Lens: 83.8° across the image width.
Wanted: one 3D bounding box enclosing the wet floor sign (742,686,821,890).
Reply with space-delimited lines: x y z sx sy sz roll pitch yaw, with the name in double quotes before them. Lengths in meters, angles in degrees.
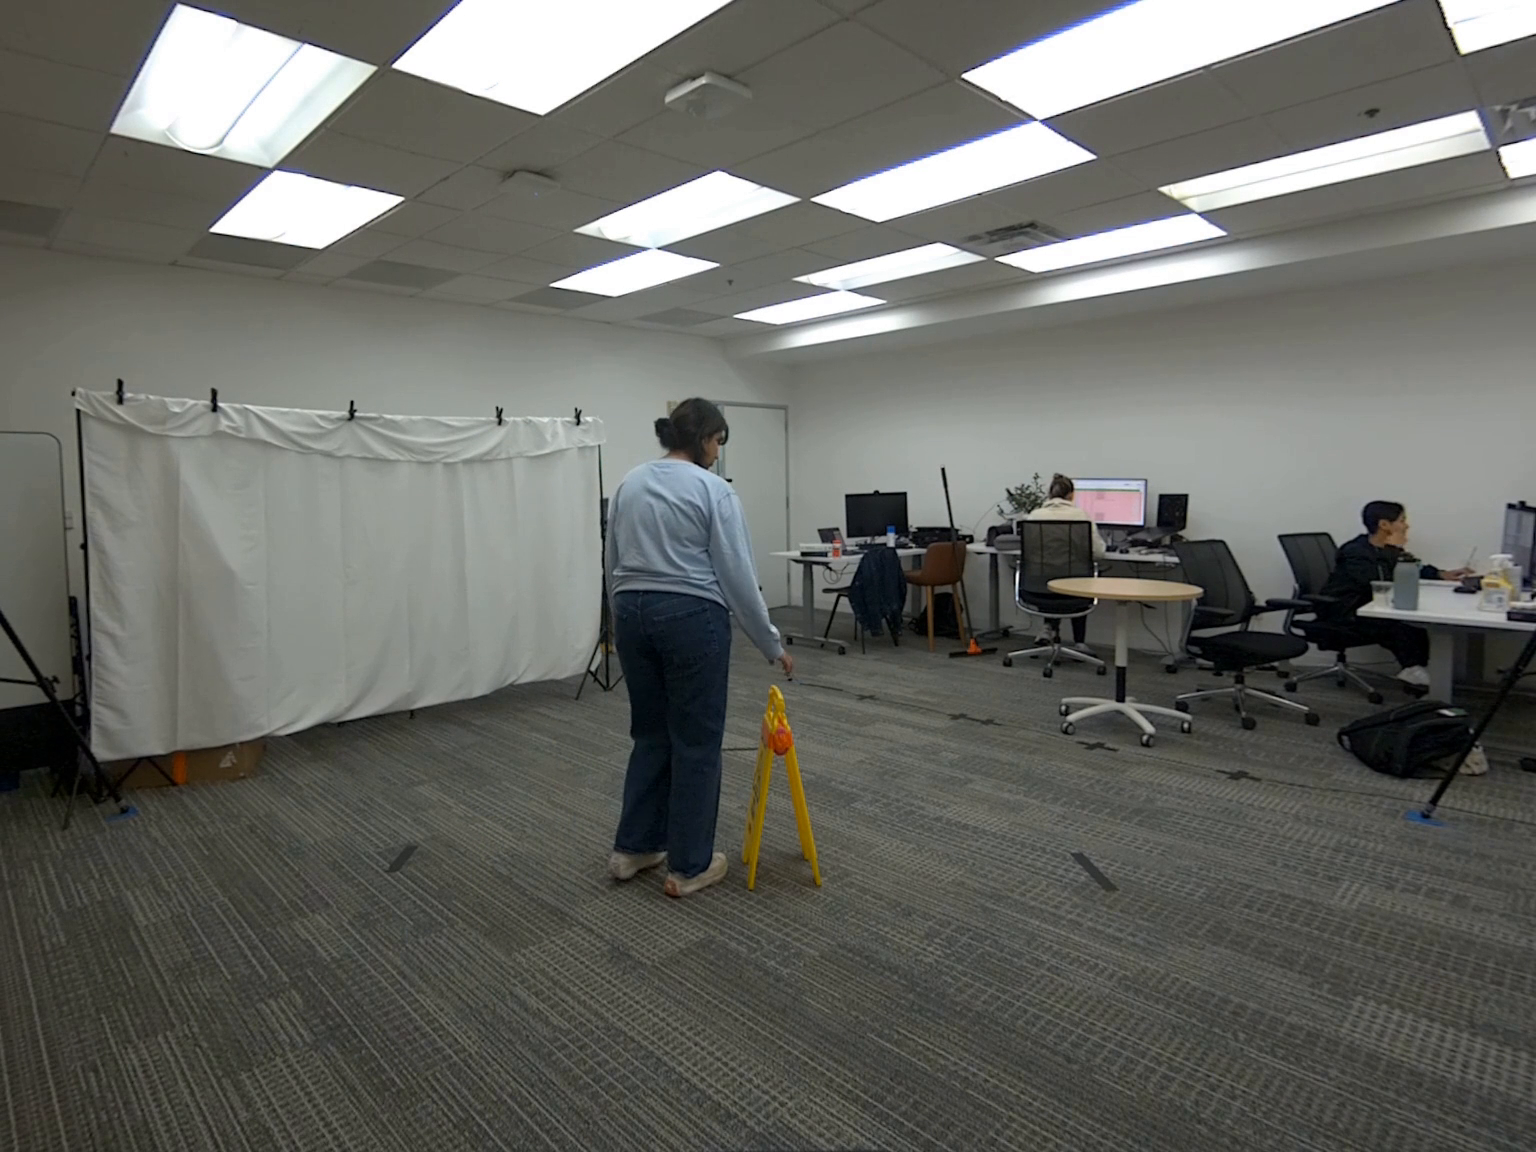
"wet floor sign" 0.036 0.729 3.018 0.288 0.643 0.285 0 4 -6
